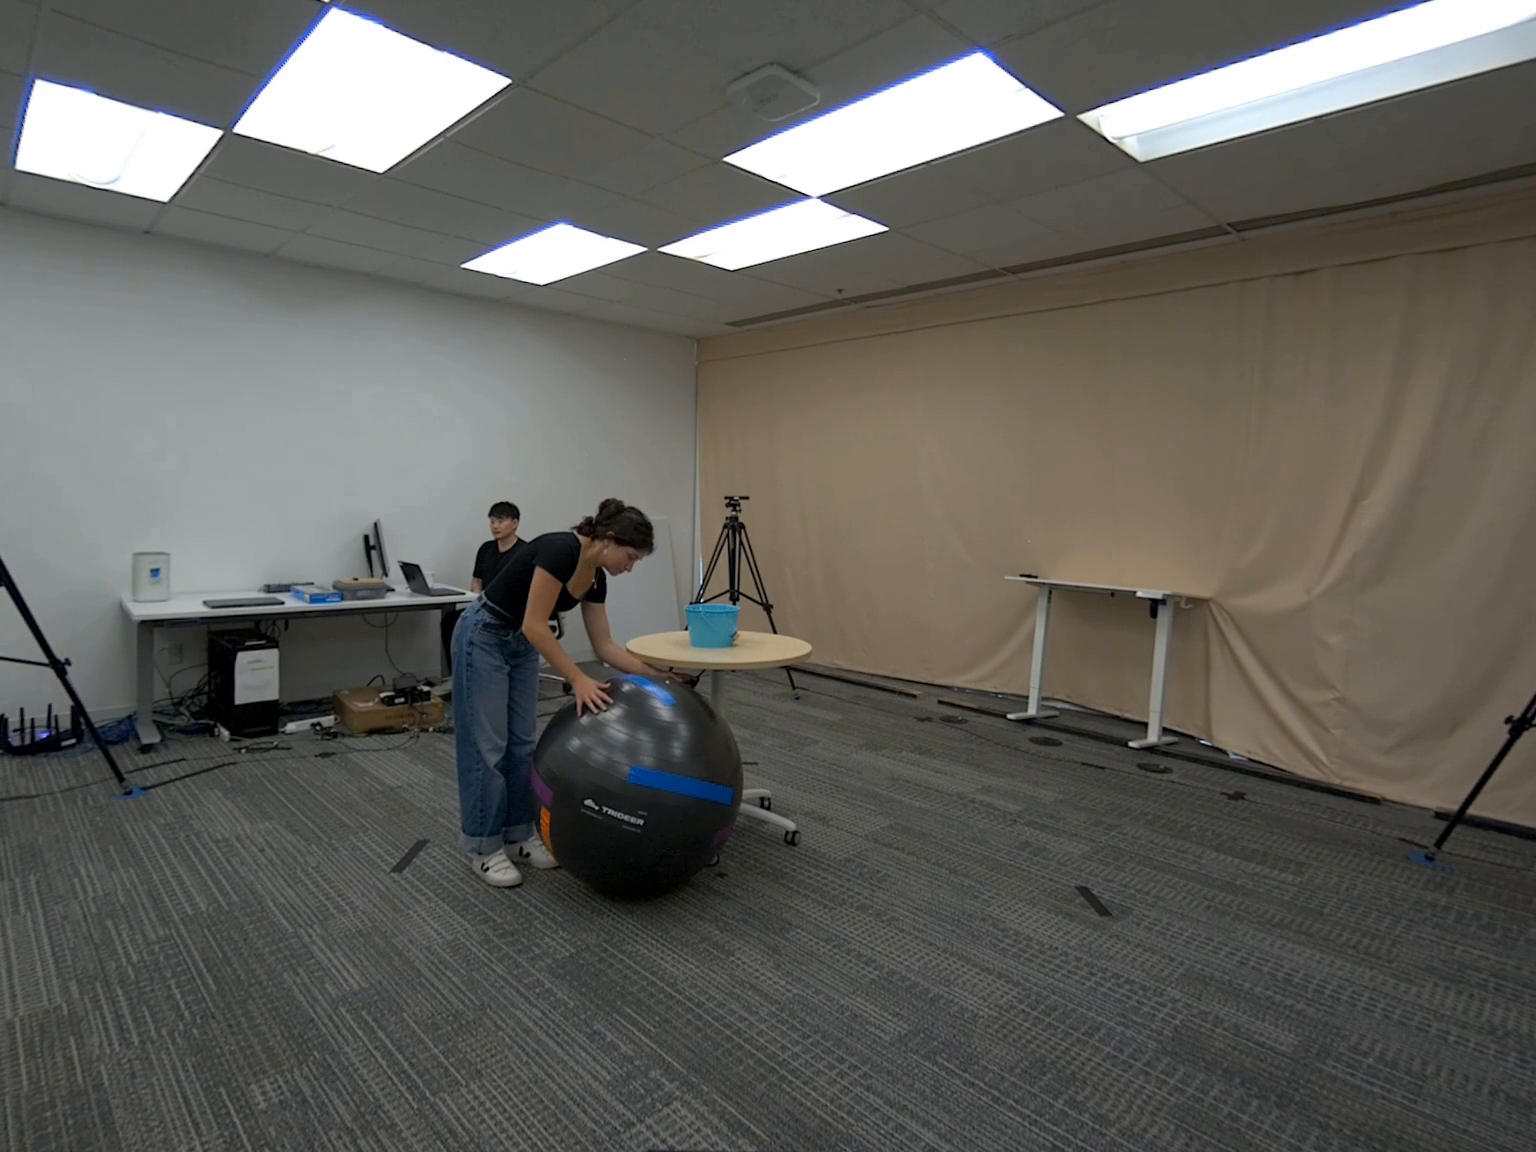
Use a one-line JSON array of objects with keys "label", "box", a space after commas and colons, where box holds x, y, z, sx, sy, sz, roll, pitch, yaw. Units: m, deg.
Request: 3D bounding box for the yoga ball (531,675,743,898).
[{"label": "yoga ball", "box": [-0.478, 0.741, 3.011, 0.757, 0.756, 0.761, 1, 4, -1]}]
